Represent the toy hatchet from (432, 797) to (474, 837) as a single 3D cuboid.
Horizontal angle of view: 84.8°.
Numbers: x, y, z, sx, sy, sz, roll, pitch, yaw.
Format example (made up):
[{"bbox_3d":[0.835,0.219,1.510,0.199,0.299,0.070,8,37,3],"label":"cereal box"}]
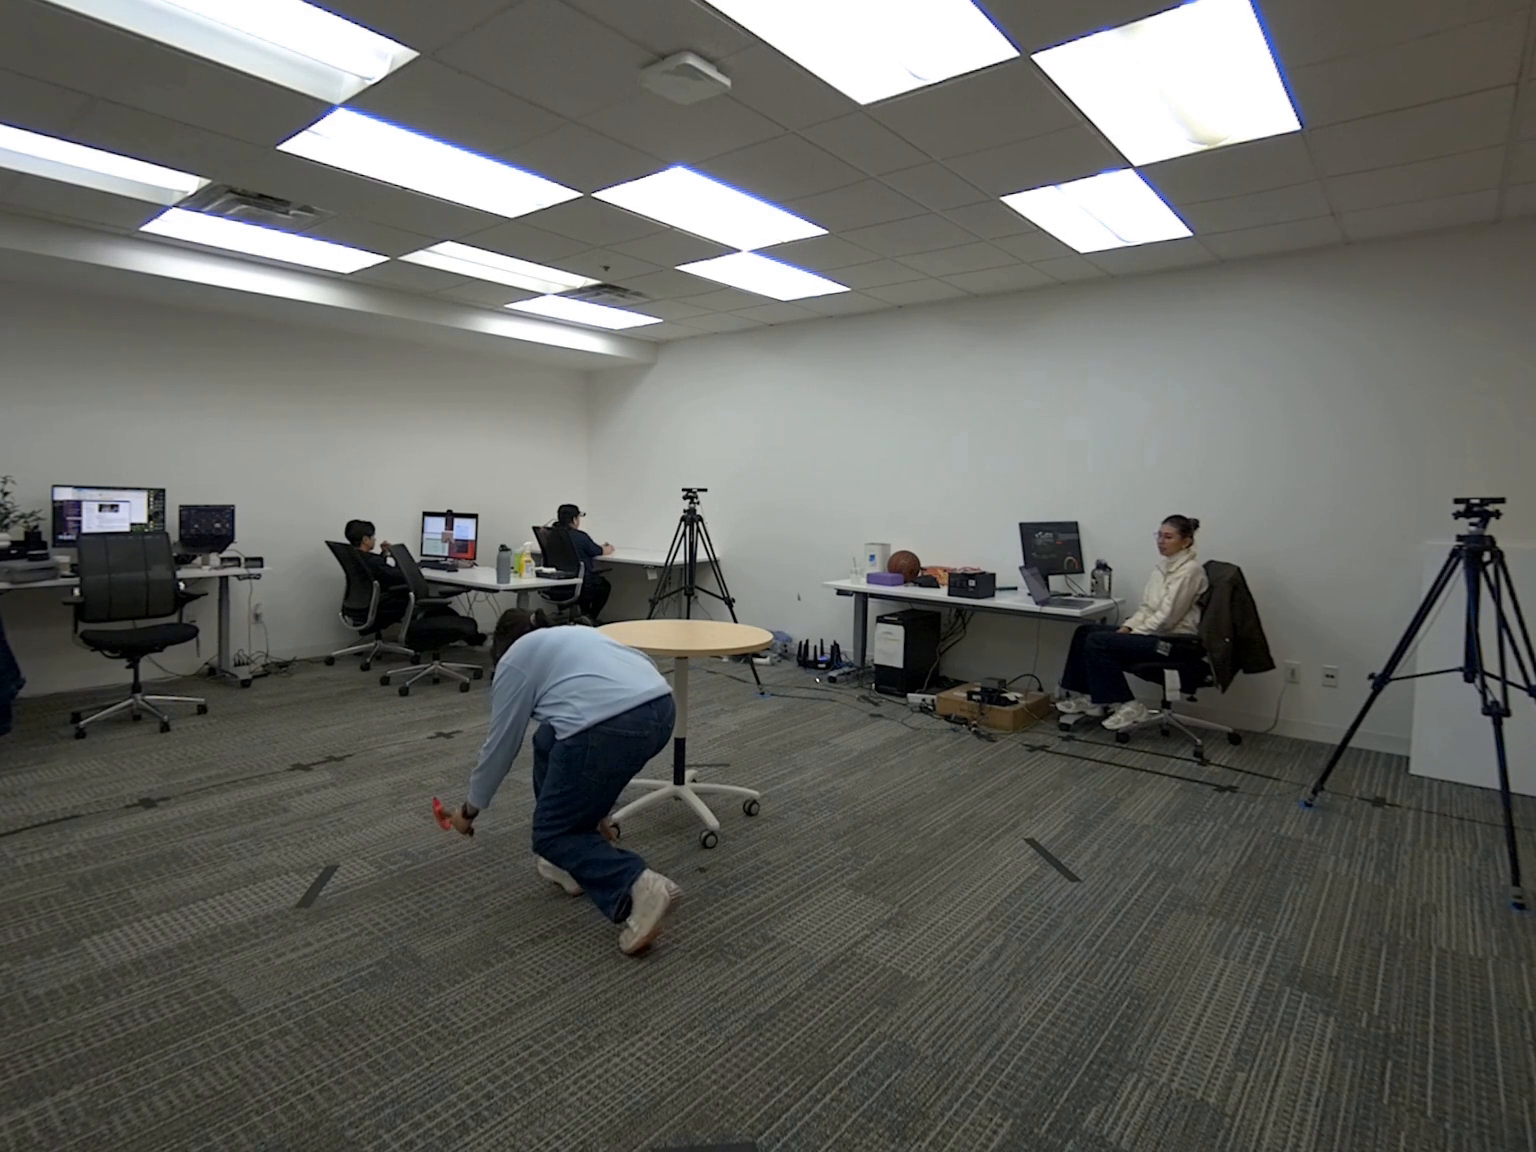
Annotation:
[{"bbox_3d":[-1.141,0.881,3.051,0.029,0.129,0.281,-14,26,-43],"label":"toy hatchet"}]
